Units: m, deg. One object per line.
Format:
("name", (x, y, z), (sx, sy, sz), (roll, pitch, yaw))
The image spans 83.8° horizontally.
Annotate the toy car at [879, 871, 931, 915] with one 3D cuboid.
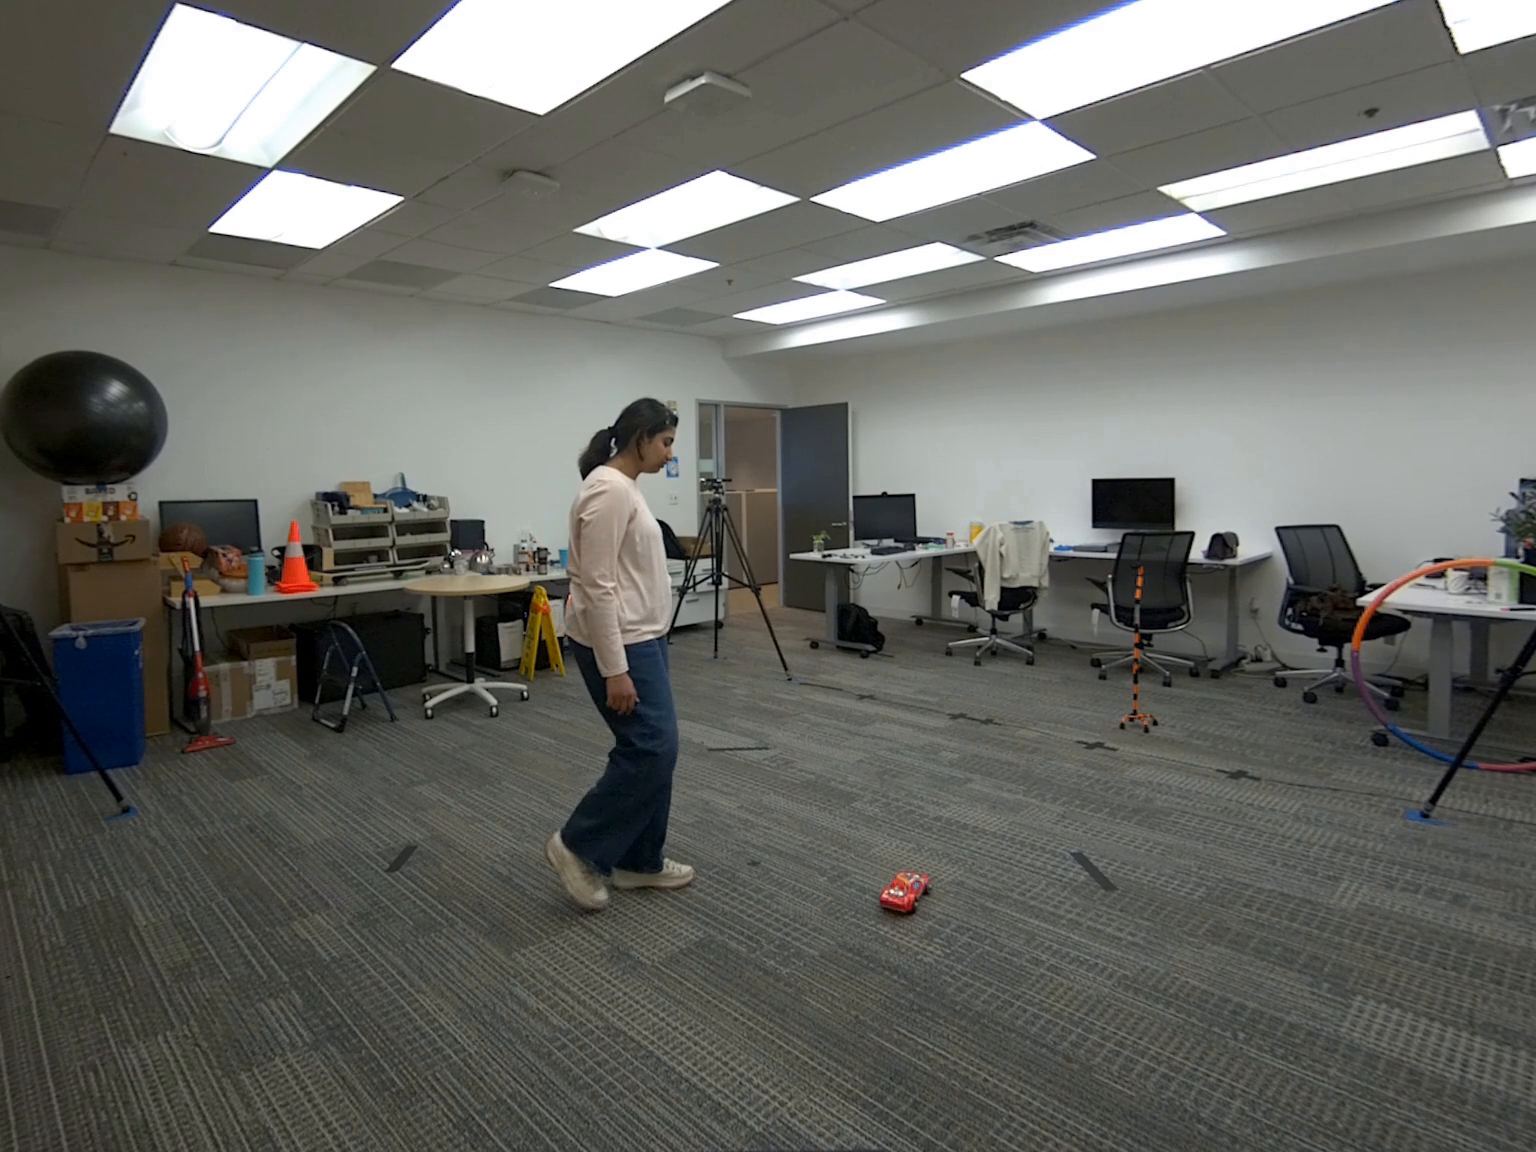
("toy car", (0.445, 1.033, 2.798), (0.134, 0.083, 0.247), (4, -3, 30))
